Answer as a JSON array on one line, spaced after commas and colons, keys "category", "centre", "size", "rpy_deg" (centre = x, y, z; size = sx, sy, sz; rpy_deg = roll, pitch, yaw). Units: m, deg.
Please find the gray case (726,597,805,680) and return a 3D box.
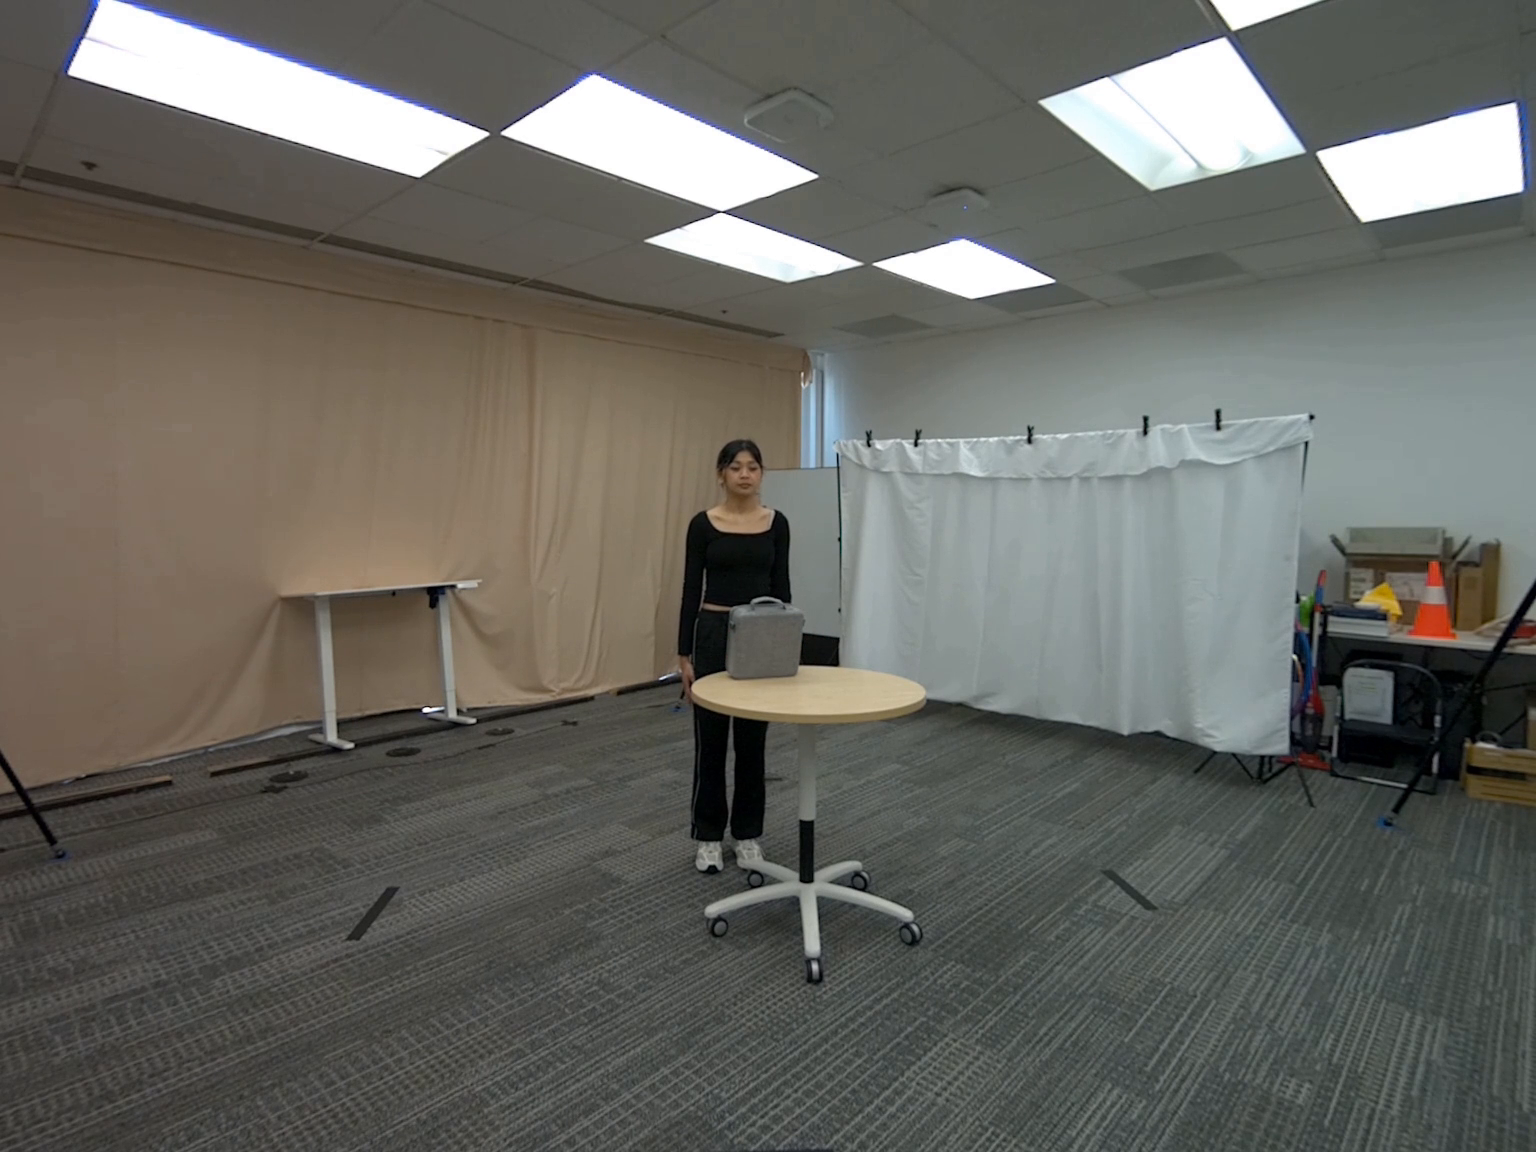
[{"category": "gray case", "centre": [-0.012, 0.223, 2.940], "size": [0.252, 0.258, 0.107], "rpy_deg": [-2, 16, -18]}]
